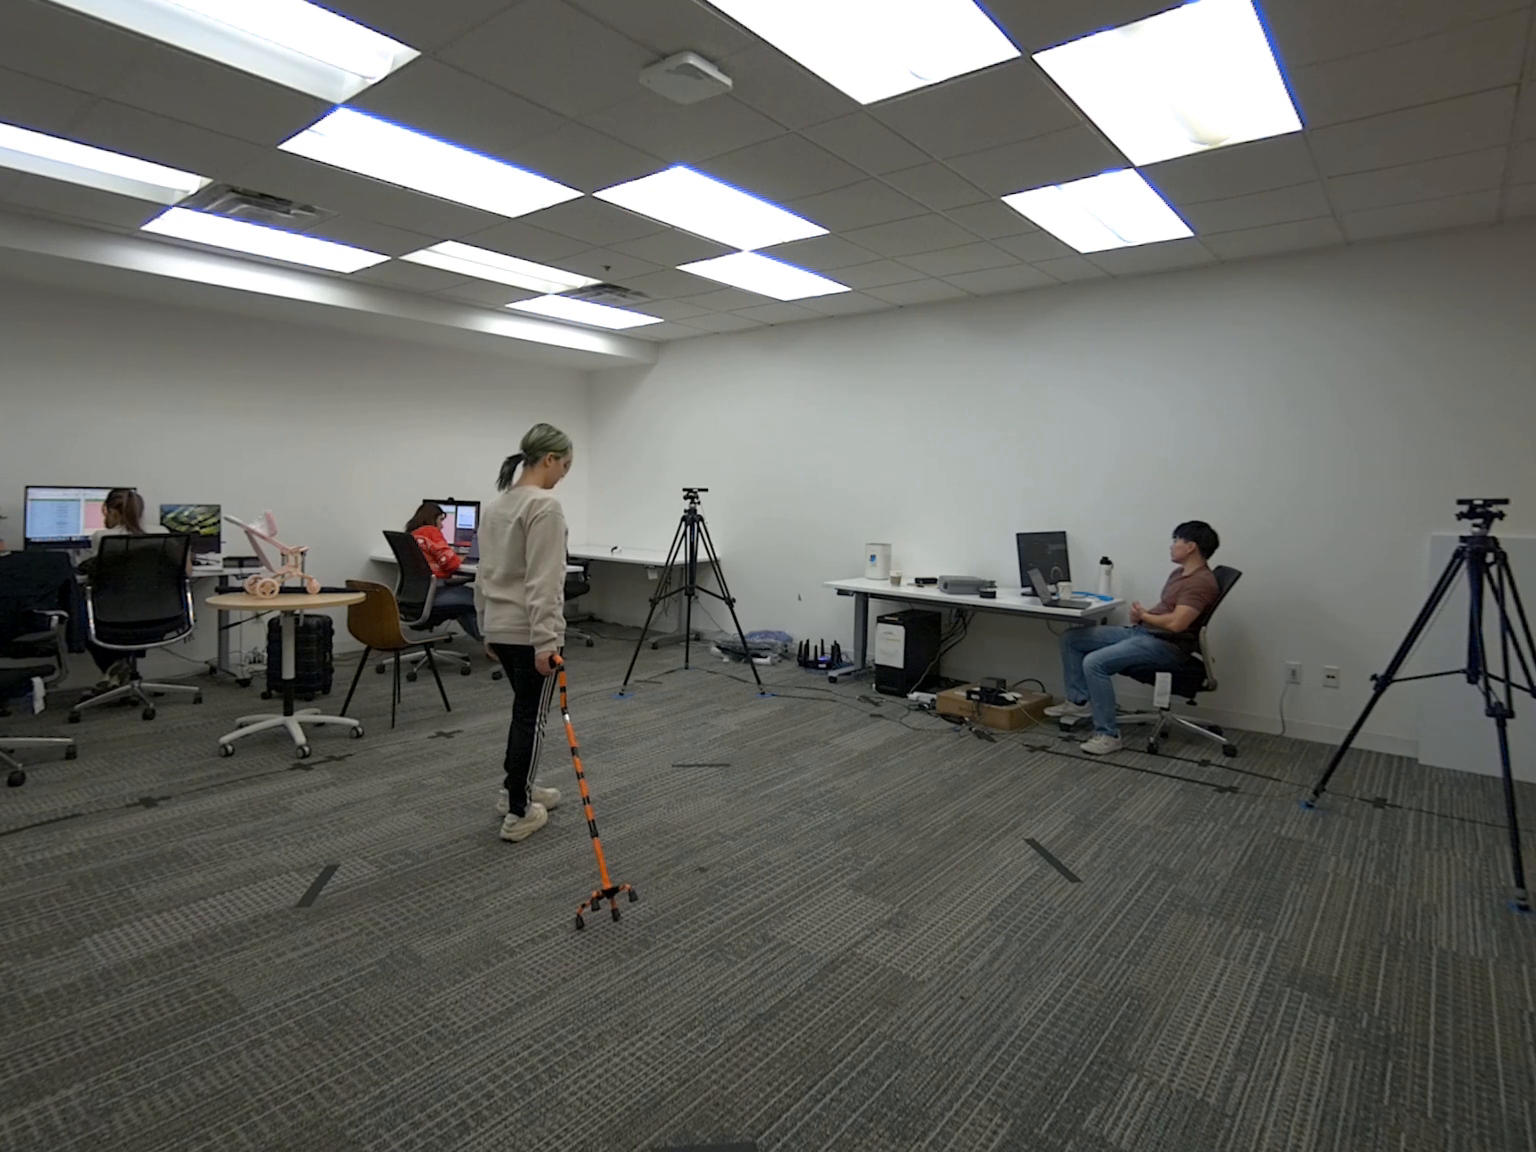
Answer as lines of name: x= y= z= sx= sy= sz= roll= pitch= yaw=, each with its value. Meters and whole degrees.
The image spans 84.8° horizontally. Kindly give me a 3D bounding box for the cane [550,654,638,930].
cane: x=-0.658 y=0.675 z=2.871 sx=0.148 sy=0.939 sz=0.205 roll=-3 pitch=-35 yaw=-30
